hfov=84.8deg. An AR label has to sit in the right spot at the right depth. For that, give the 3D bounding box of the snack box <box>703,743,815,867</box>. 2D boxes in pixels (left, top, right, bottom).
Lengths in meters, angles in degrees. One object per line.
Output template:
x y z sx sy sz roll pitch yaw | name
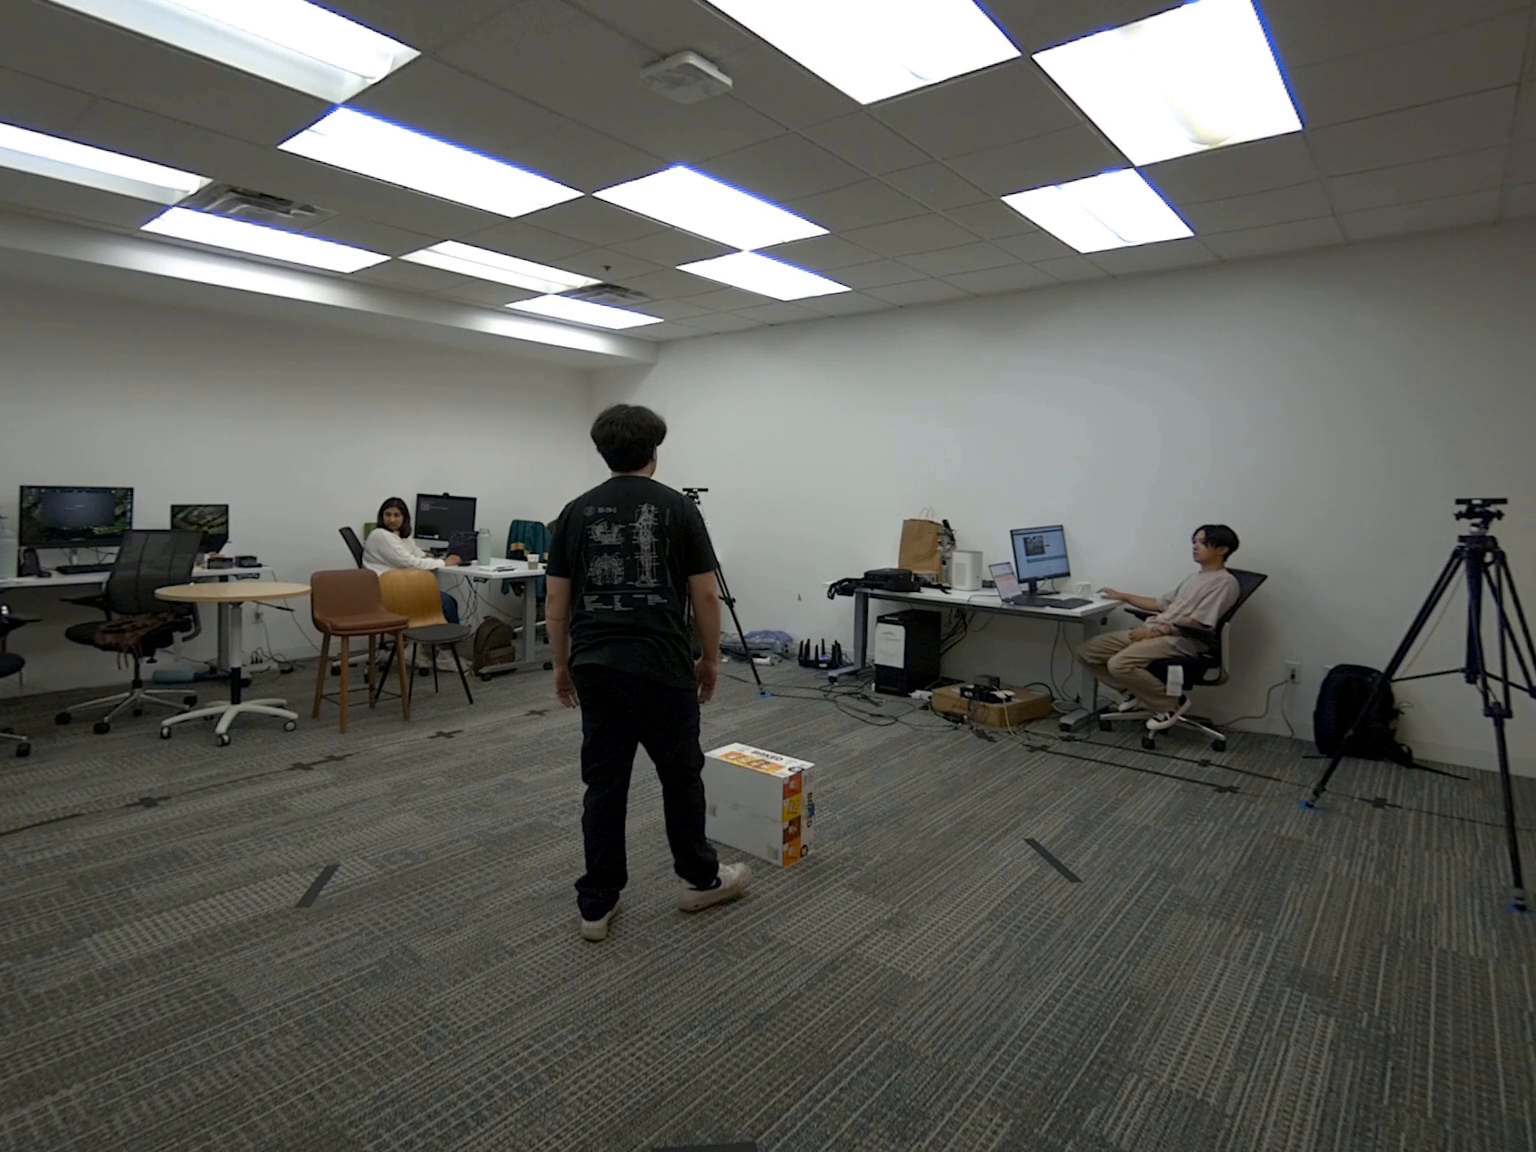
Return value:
-0.049 0.881 3.332 0.419 0.339 0.199 4 5 39 | snack box
